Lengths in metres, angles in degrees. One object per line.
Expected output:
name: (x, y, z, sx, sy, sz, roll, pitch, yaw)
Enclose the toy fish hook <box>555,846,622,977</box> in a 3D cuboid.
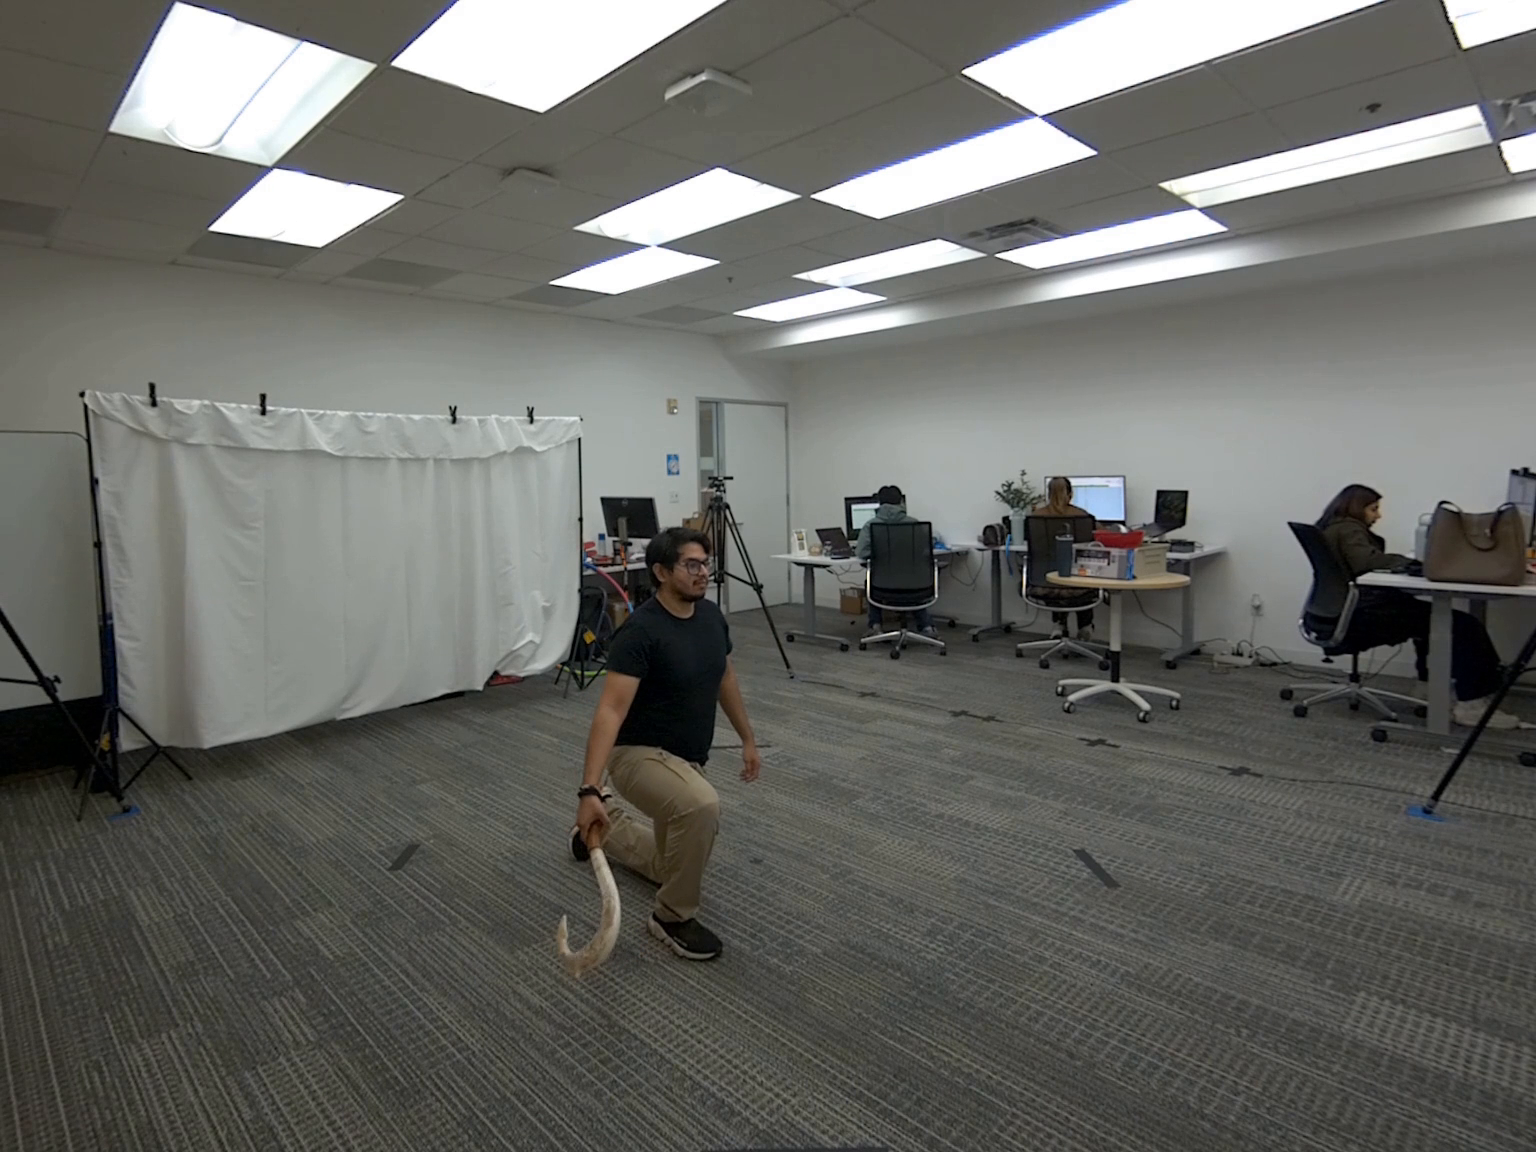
toy fish hook: (-0.488, 0.808, 2.287, 0.225, 0.046, 0.523, -37, 34, 14)
